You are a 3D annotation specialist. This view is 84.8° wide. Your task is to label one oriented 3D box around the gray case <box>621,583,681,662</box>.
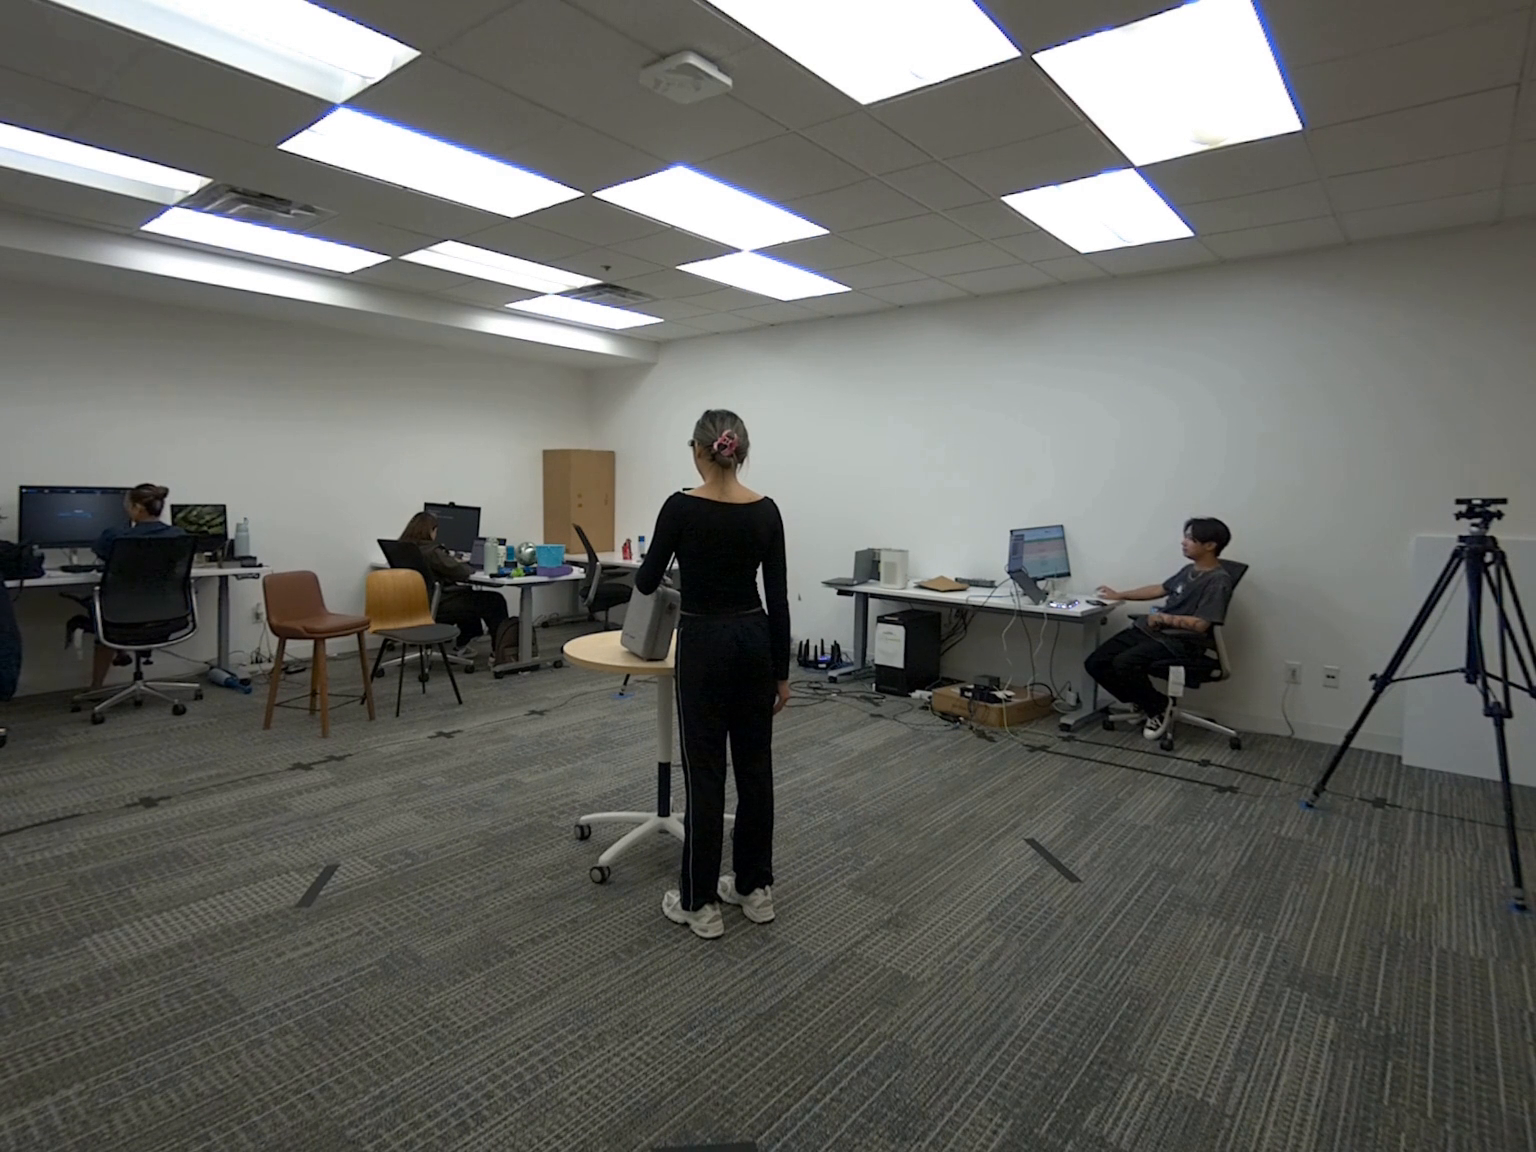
[{"bbox_3d":[-0.433,0.150,3.039,0.101,0.261,0.264,11,0,-28],"label":"gray case"}]
